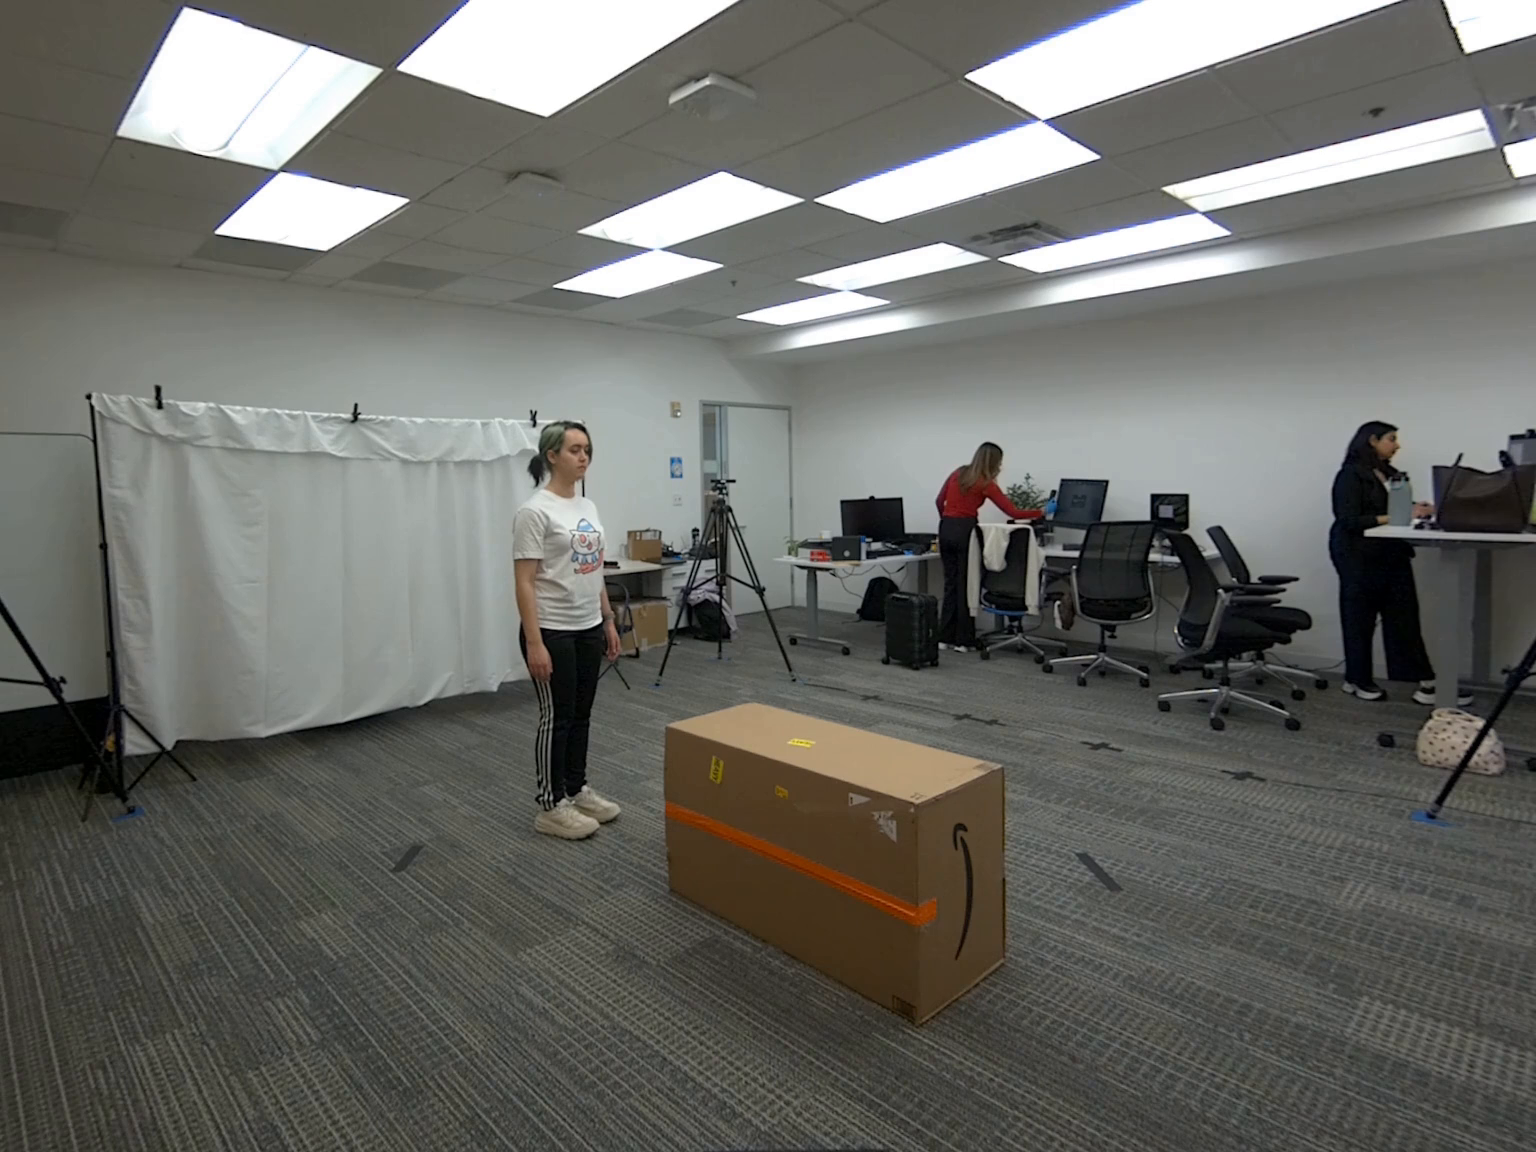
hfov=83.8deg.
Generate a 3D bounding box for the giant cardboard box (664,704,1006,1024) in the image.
[{"bbox_3d":[0.166,0.806,2.669,0.435,0.581,1.059,-6,7,-44],"label":"giant cardboard box"}]
